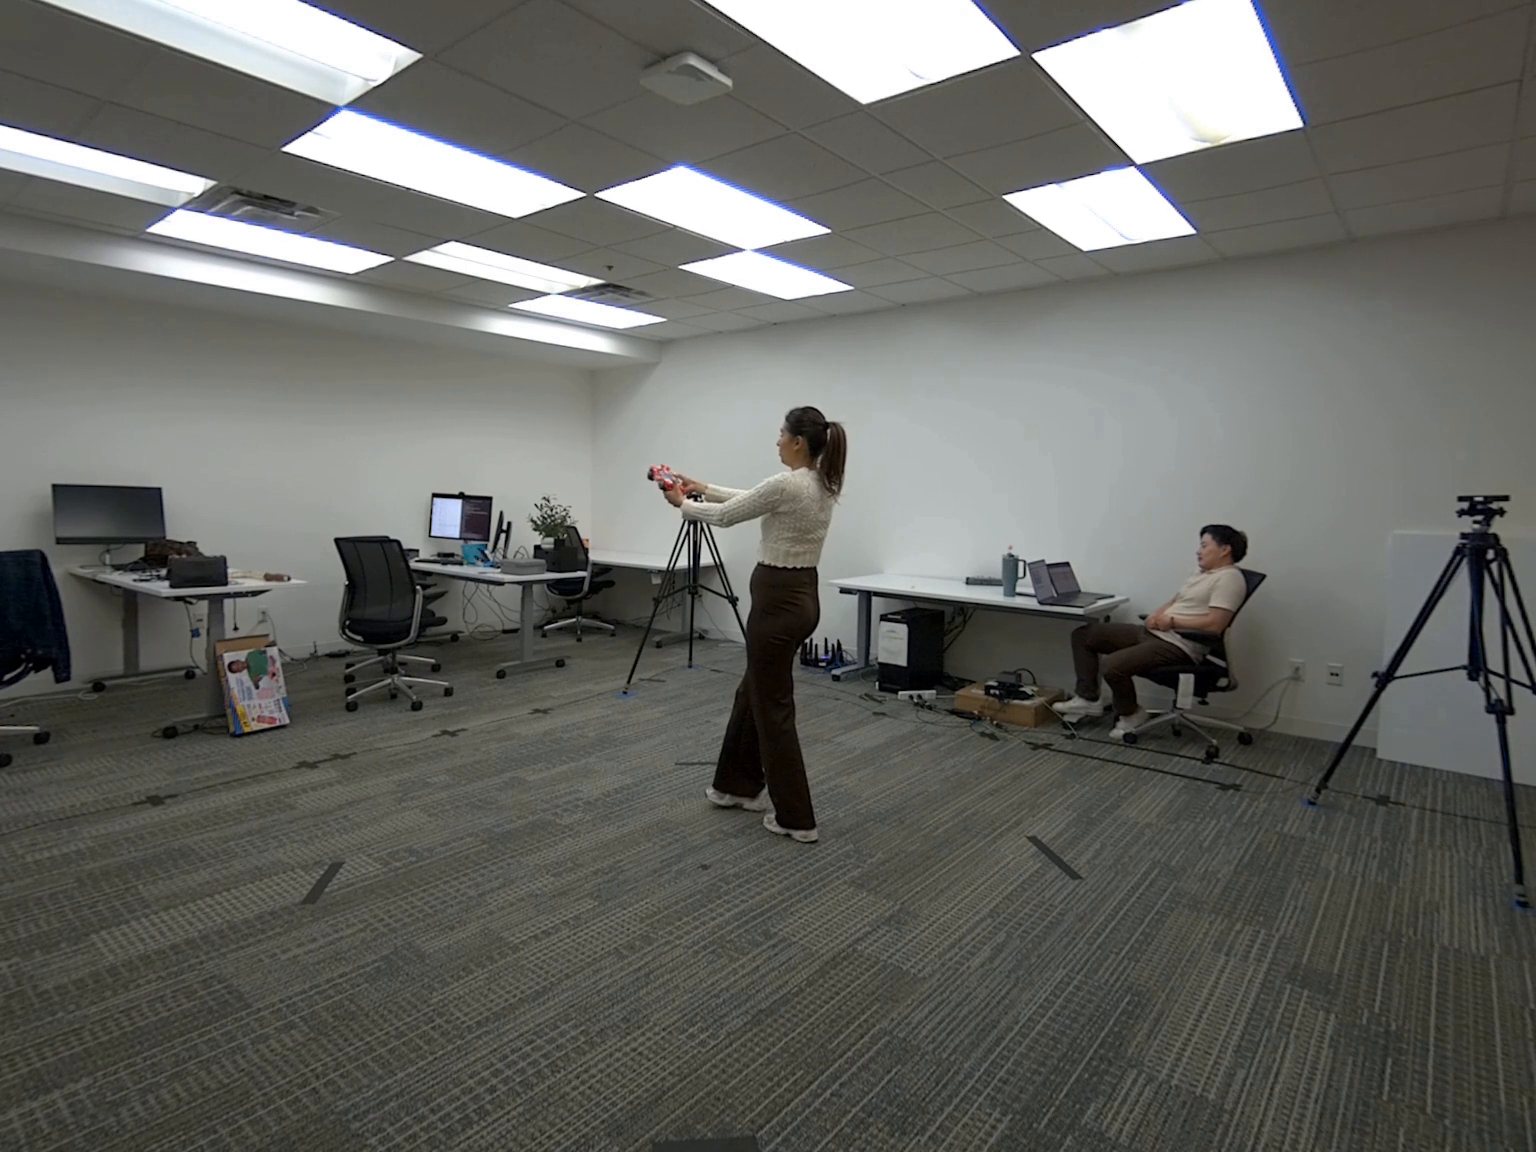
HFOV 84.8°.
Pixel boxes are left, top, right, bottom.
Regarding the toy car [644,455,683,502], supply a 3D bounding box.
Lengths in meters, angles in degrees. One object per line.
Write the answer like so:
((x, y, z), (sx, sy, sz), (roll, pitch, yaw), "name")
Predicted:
((-0.450, -0.424, 3.745), (0.126, 0.083, 0.265), (20, 23, -32), "toy car")
